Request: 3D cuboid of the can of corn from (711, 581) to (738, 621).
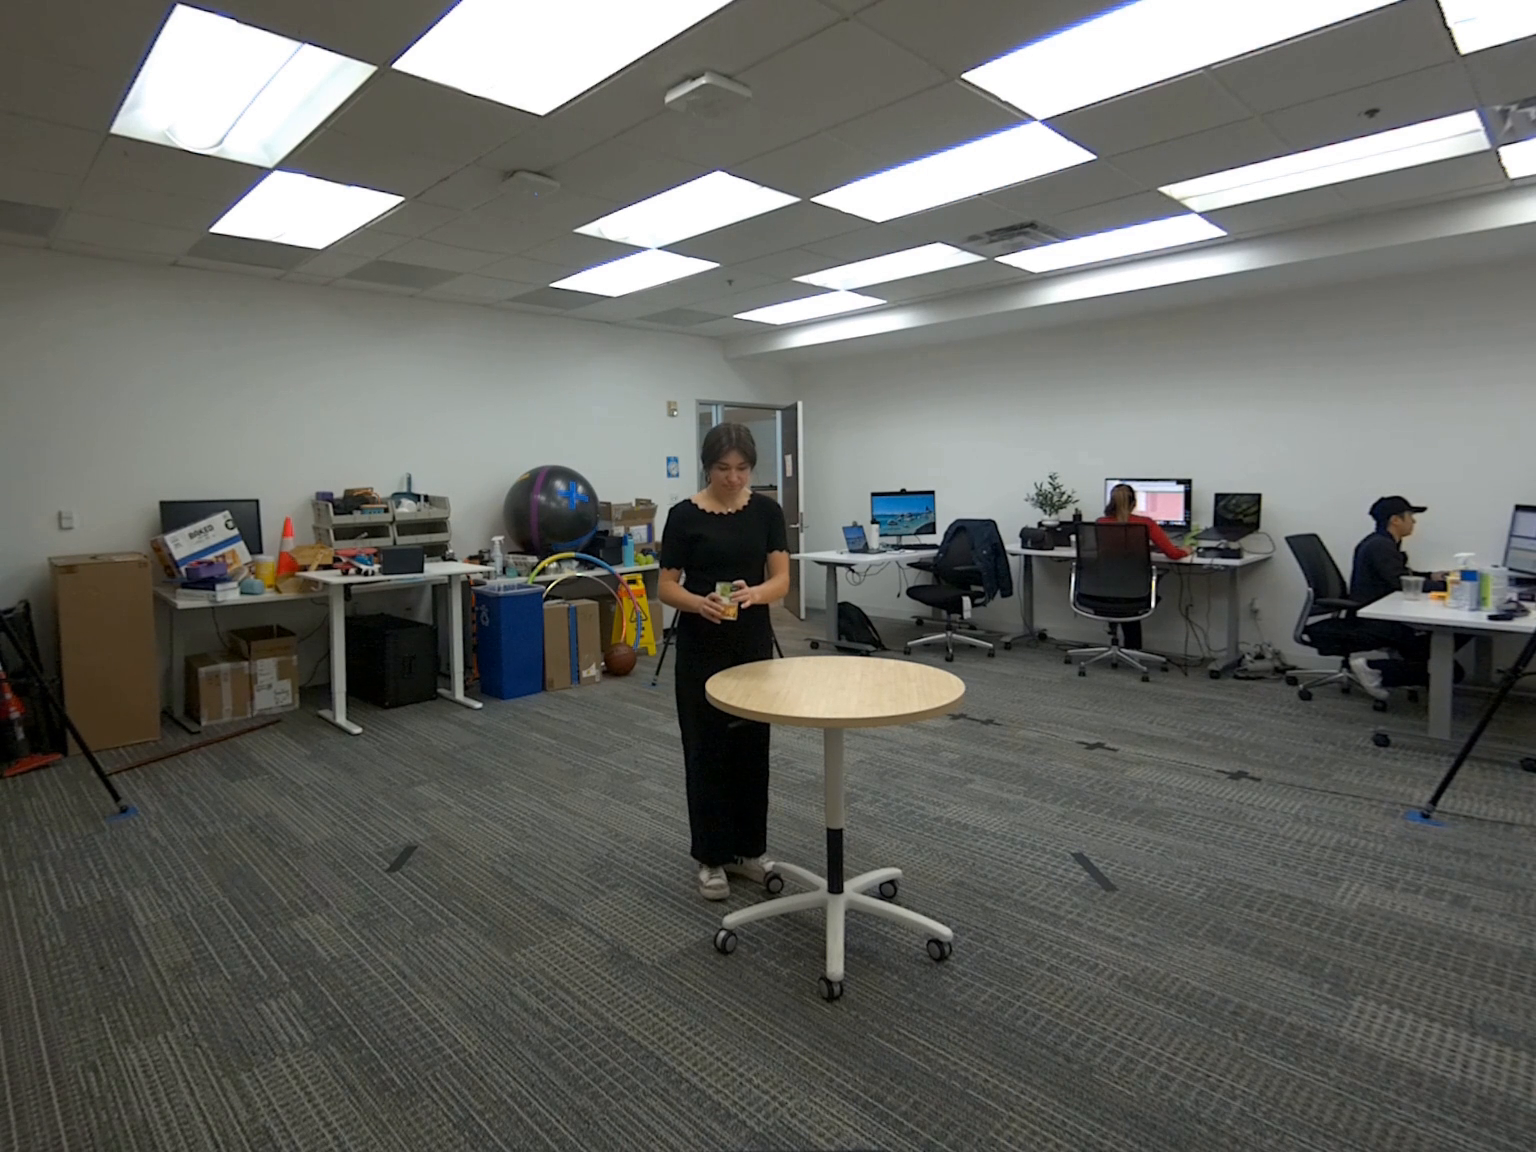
[{"bbox_3d":[-0.120,0.077,2.671,0.074,0.111,0.074,2,-2,-2],"label":"can of corn"}]
